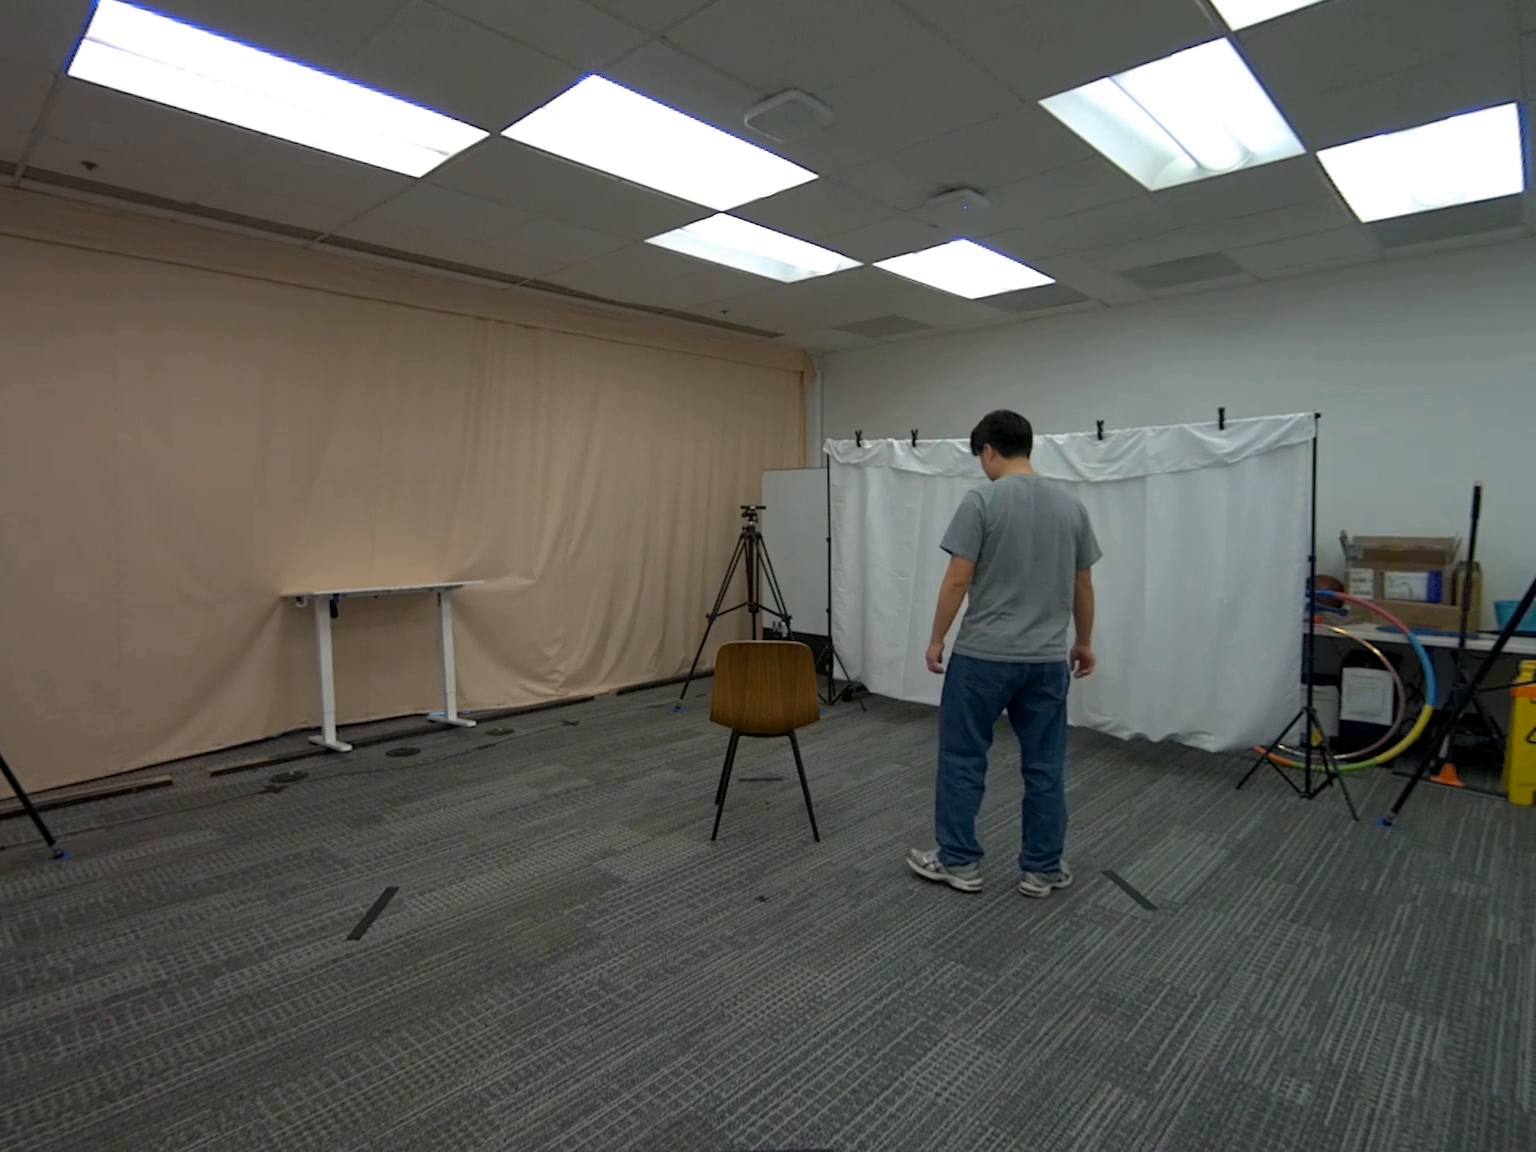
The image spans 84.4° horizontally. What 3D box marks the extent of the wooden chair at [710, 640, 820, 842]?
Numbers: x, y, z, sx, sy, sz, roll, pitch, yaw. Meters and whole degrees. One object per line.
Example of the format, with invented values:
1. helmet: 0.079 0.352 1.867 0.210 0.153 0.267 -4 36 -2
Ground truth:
1. wooden chair: -0.027 0.659 3.698 0.478 0.874 0.525 0 6 -1
